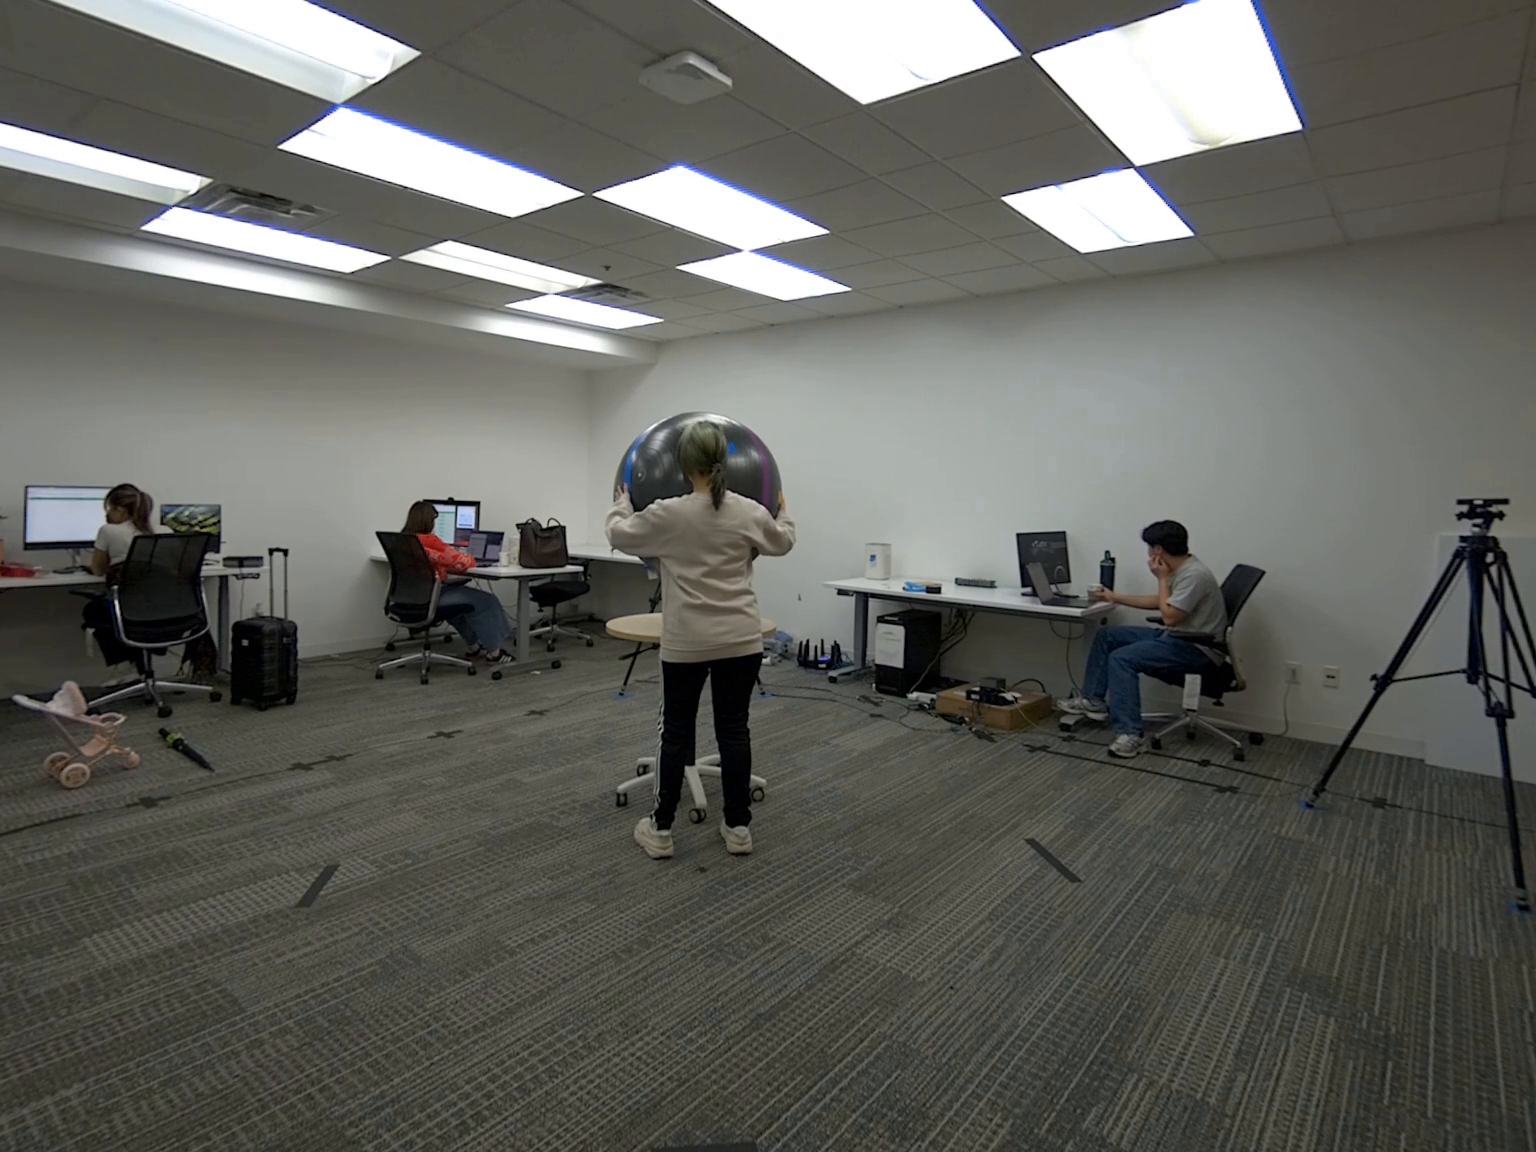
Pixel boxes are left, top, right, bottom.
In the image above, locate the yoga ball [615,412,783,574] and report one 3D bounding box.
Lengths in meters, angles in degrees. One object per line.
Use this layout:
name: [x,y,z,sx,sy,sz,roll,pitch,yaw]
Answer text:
yoga ball: [-0.321,-0.362,3.808,0.757,0.756,0.761,1,4,-2]
